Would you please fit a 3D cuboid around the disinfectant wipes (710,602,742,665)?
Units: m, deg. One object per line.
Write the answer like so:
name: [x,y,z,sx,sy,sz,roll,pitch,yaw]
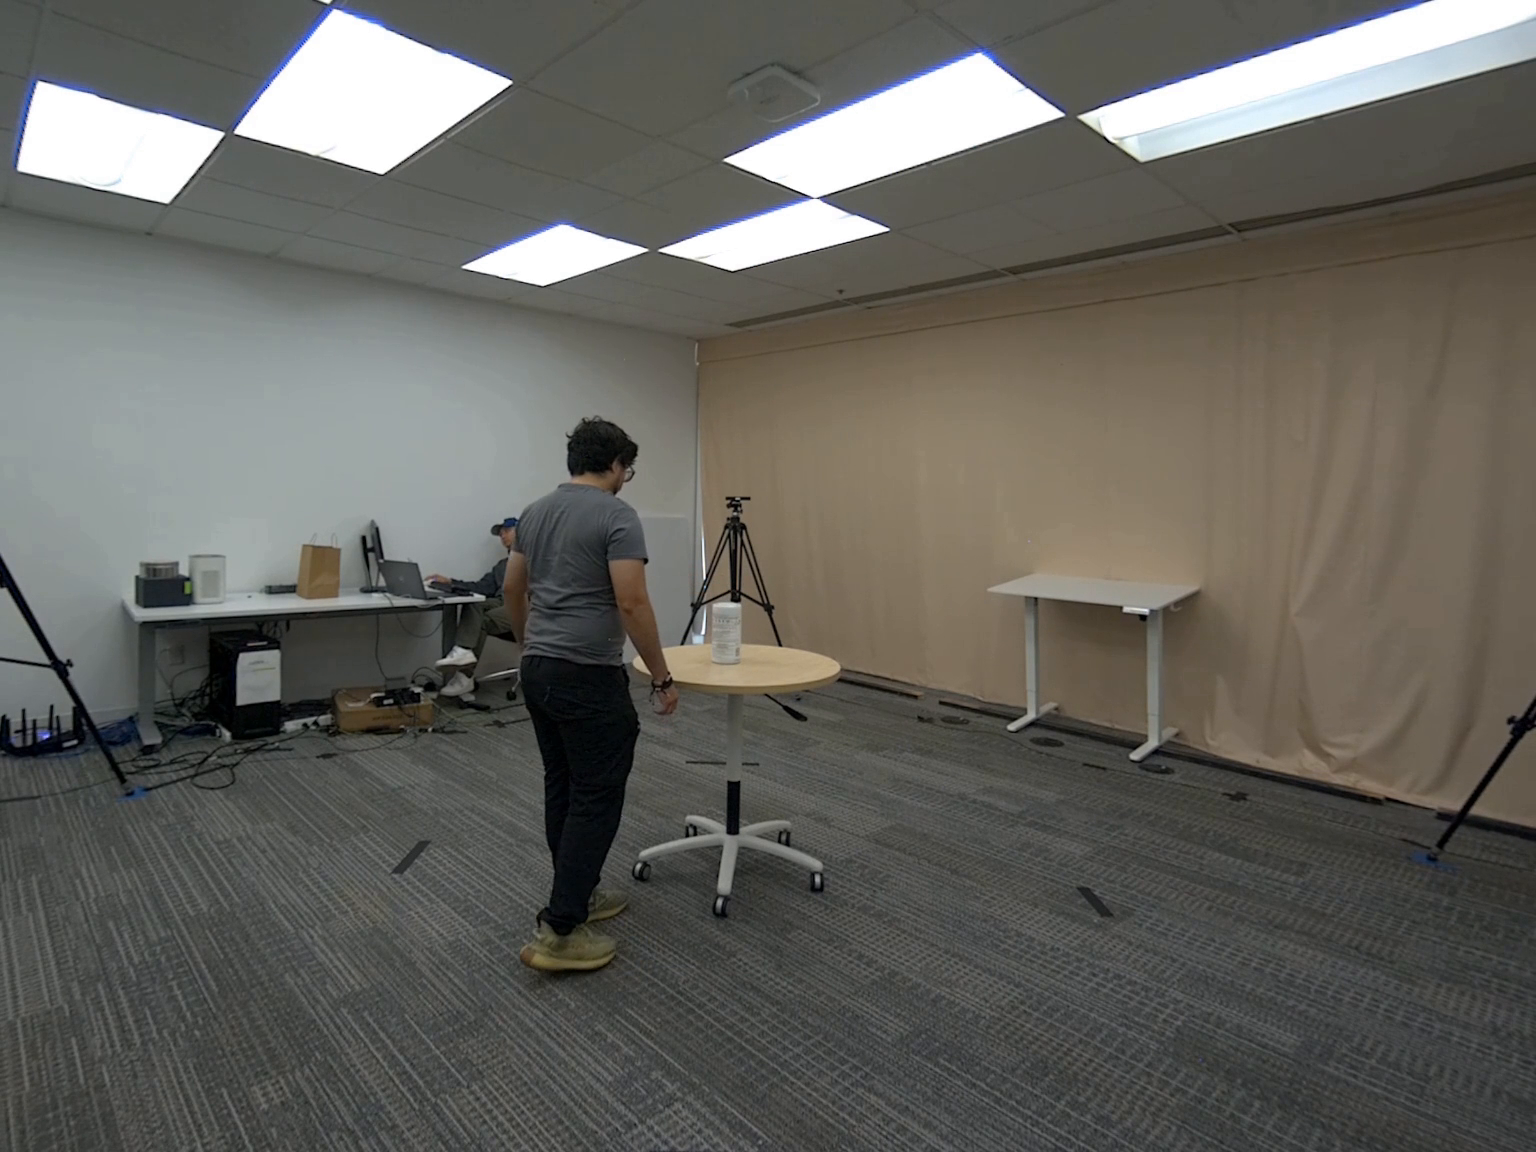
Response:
disinfectant wipes: [-0.157,0.209,3.115,0.118,0.216,0.118,1,6,-1]
